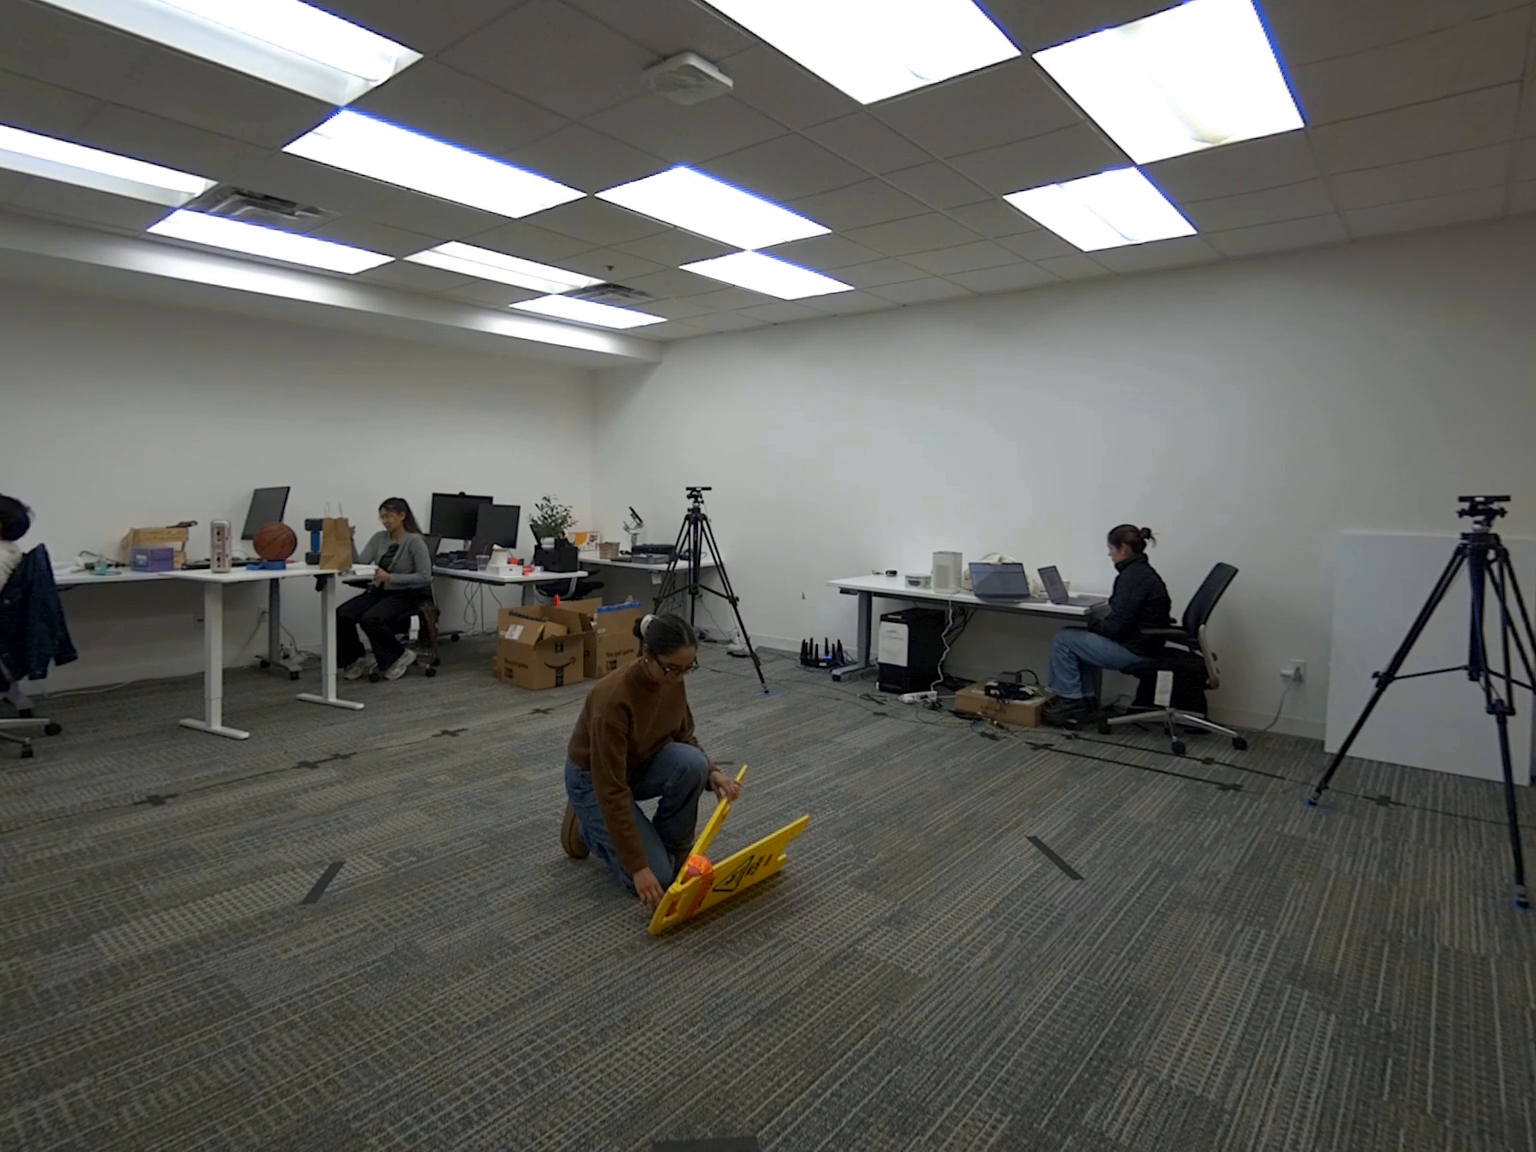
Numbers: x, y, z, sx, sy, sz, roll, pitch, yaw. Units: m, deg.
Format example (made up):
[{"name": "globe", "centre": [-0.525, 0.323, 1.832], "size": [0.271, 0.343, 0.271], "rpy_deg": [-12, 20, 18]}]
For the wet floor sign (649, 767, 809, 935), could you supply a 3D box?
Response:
[{"name": "wet floor sign", "centre": [-0.184, 0.952, 2.840], "size": [0.299, 0.279, 0.633], "rpy_deg": [36, 28, 22]}]
